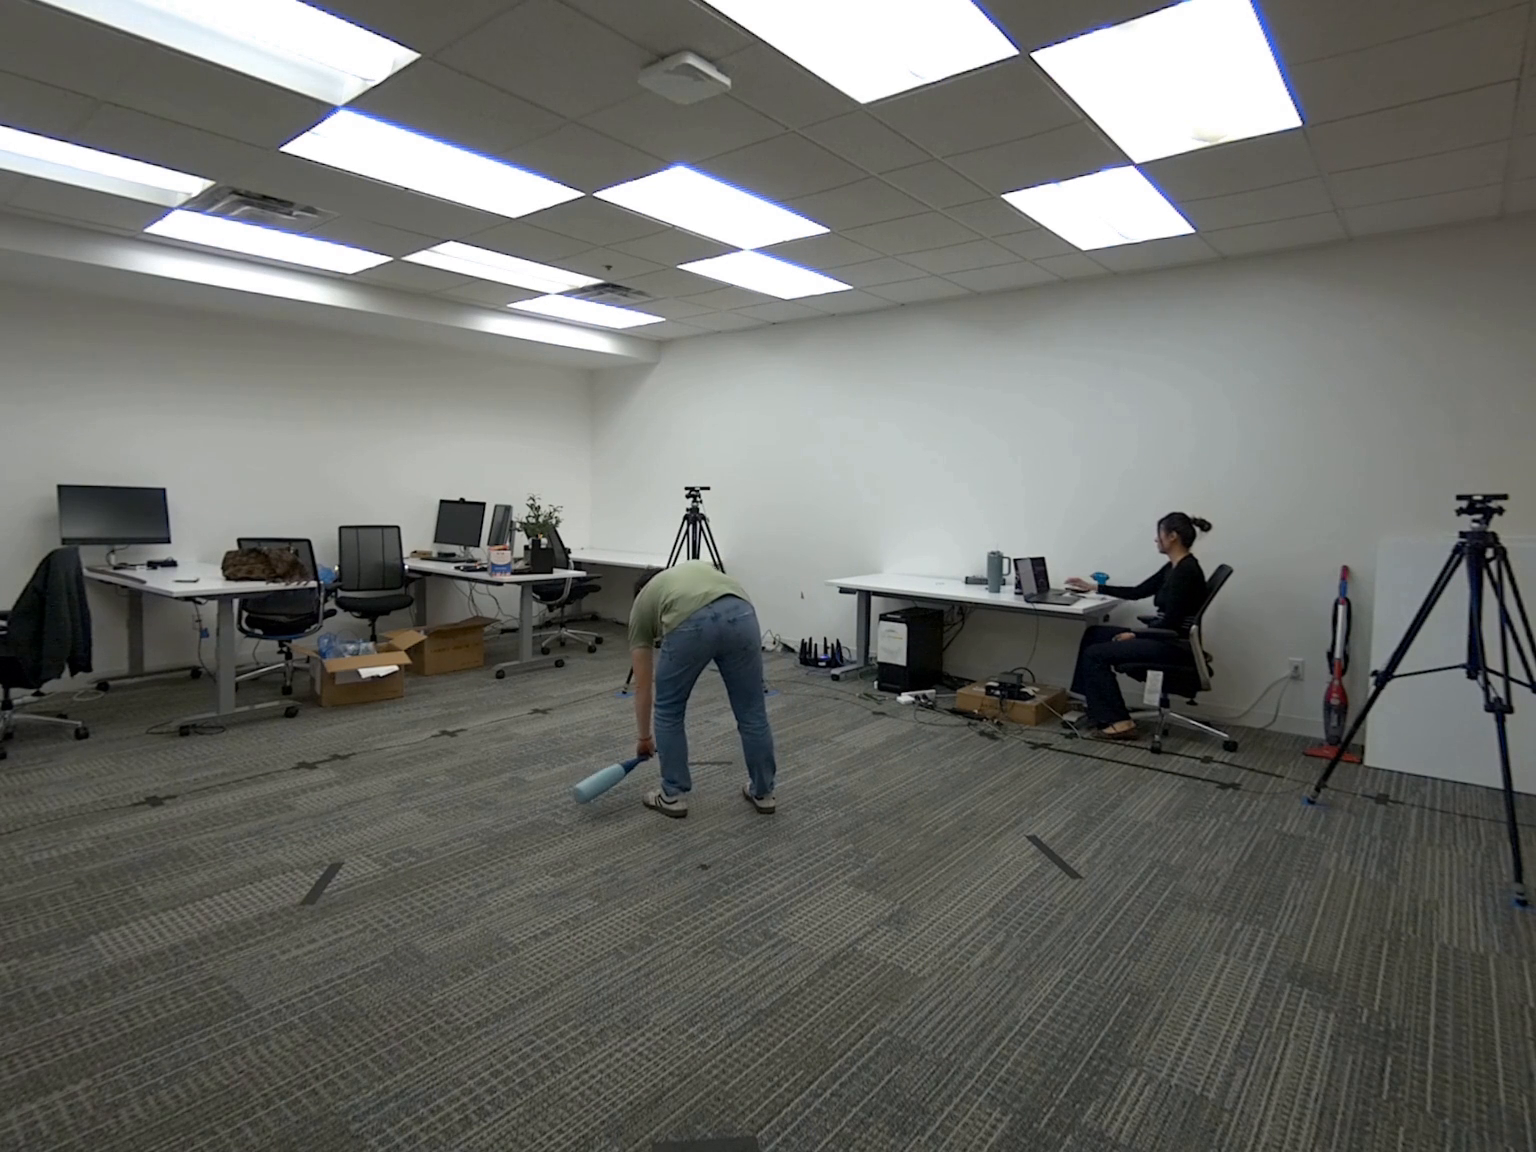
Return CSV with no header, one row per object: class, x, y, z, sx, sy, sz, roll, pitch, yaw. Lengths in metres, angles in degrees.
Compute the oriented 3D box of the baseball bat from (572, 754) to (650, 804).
baseball bat,-0.658,0.848,3.757,0.092,0.088,0.532,4,17,39
